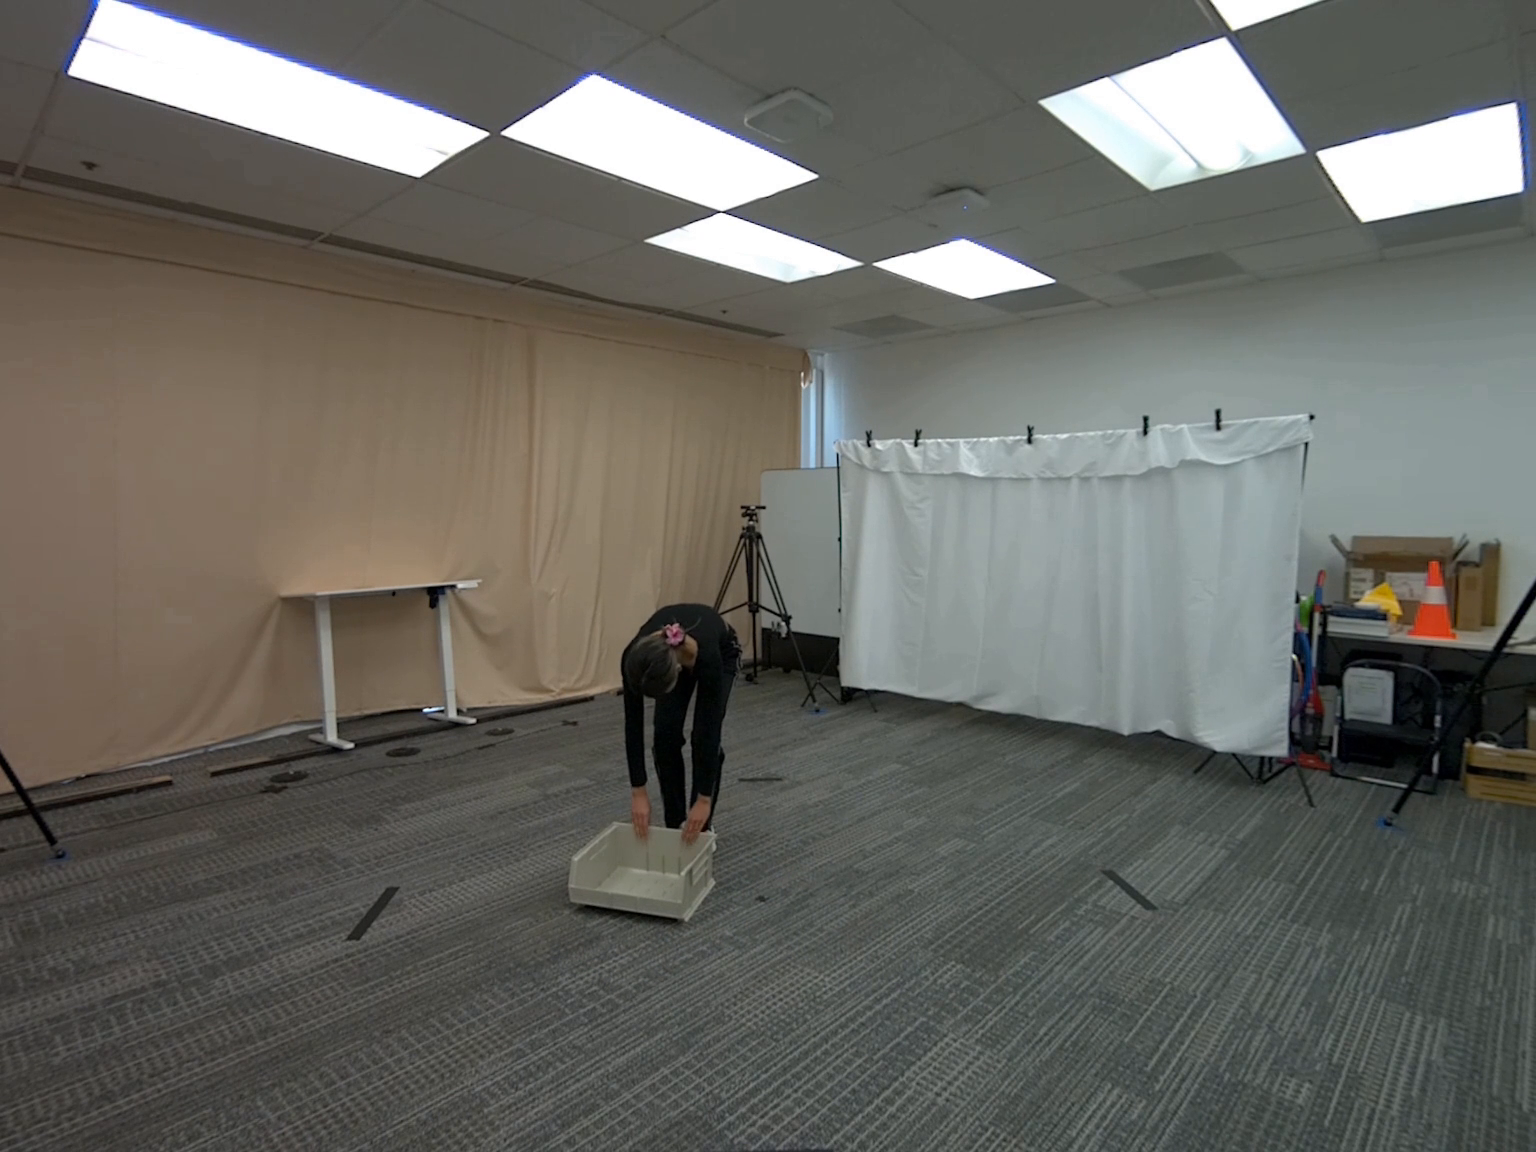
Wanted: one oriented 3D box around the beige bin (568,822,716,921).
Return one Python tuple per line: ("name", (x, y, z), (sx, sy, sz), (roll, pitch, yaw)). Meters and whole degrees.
("beige bin", (-0.438, 1.057, 3.006), (0.430, 0.189, 0.371), (0, 3, 16))
